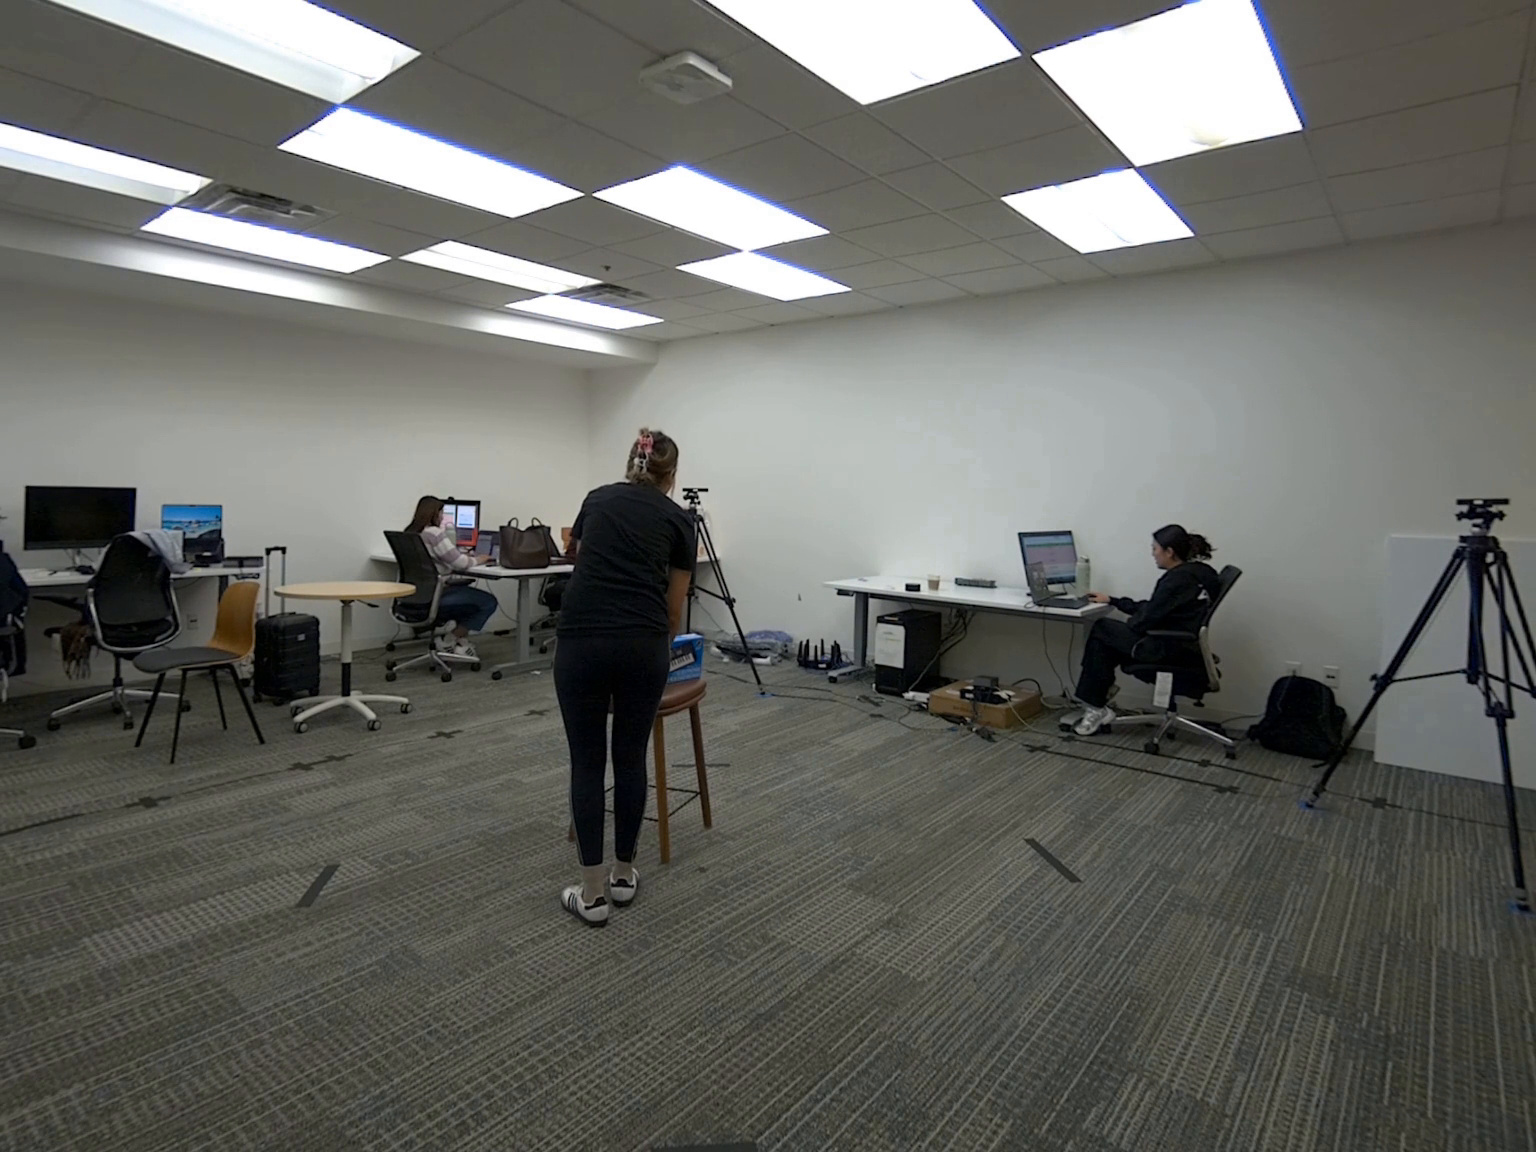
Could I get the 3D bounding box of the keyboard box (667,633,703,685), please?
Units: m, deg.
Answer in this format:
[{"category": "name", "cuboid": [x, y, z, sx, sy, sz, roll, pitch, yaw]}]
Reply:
[{"category": "keyboard box", "cuboid": [-0.444, 0.344, 3.350, 0.061, 0.175, 0.424, 11, 11, 41]}]
